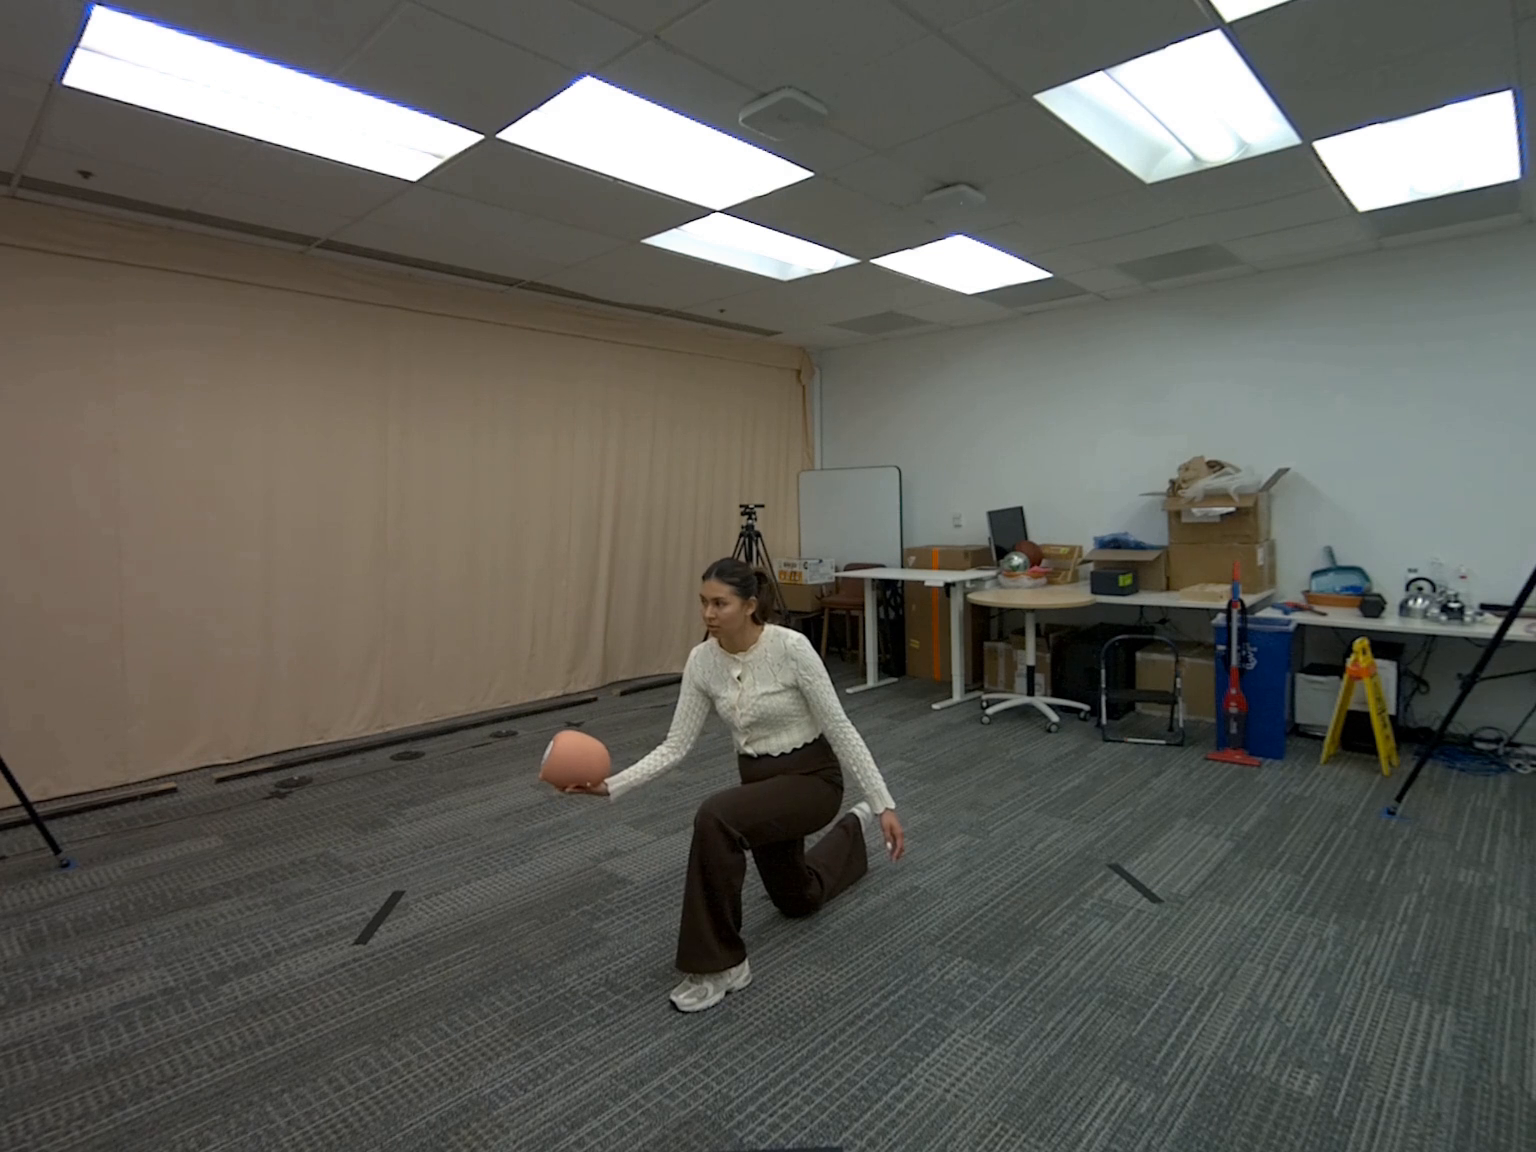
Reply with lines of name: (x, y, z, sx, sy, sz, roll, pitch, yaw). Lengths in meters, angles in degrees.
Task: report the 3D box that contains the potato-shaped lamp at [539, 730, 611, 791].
potato-shaped lamp: (-0.575, 0.573, 2.561, 0.196, 0.171, 0.167, 24, 9, -11)
